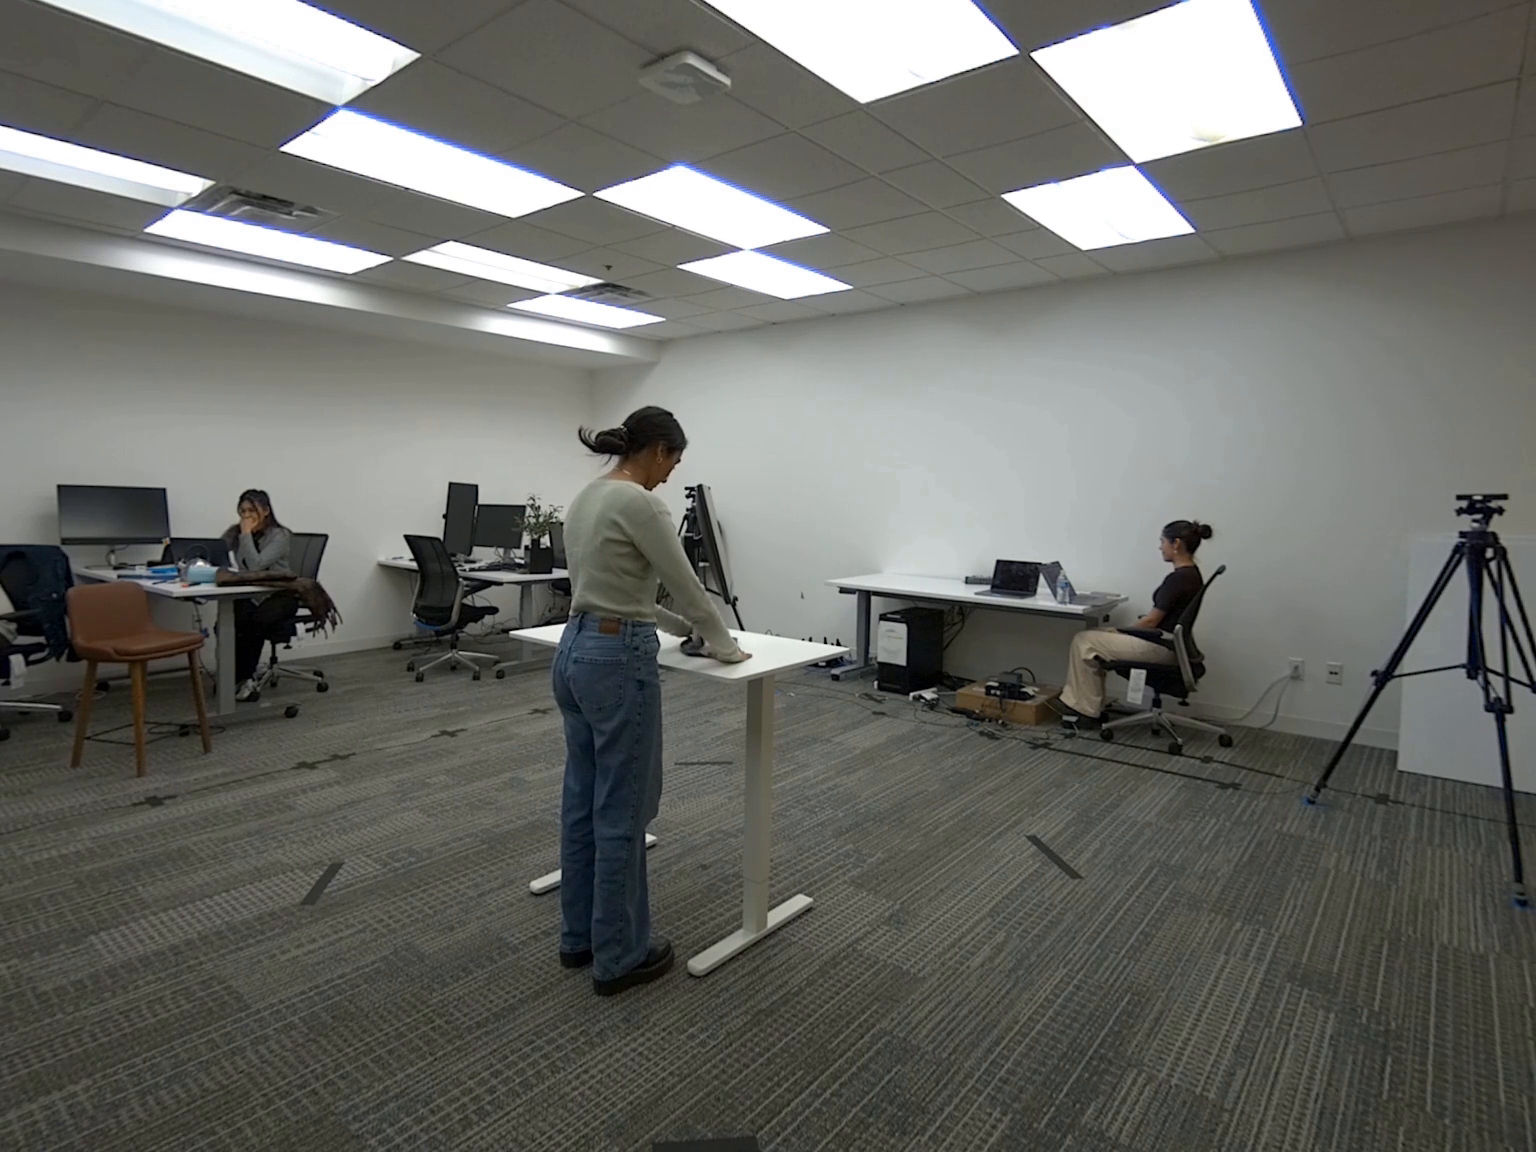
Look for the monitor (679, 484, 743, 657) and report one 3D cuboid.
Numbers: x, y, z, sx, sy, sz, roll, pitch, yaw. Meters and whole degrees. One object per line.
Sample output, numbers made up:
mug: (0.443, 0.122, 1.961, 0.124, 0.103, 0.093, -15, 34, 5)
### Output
monitor: (-0.191, -0.027, 2.674, 0.174, 0.515, 0.532, 4, 3, -3)
